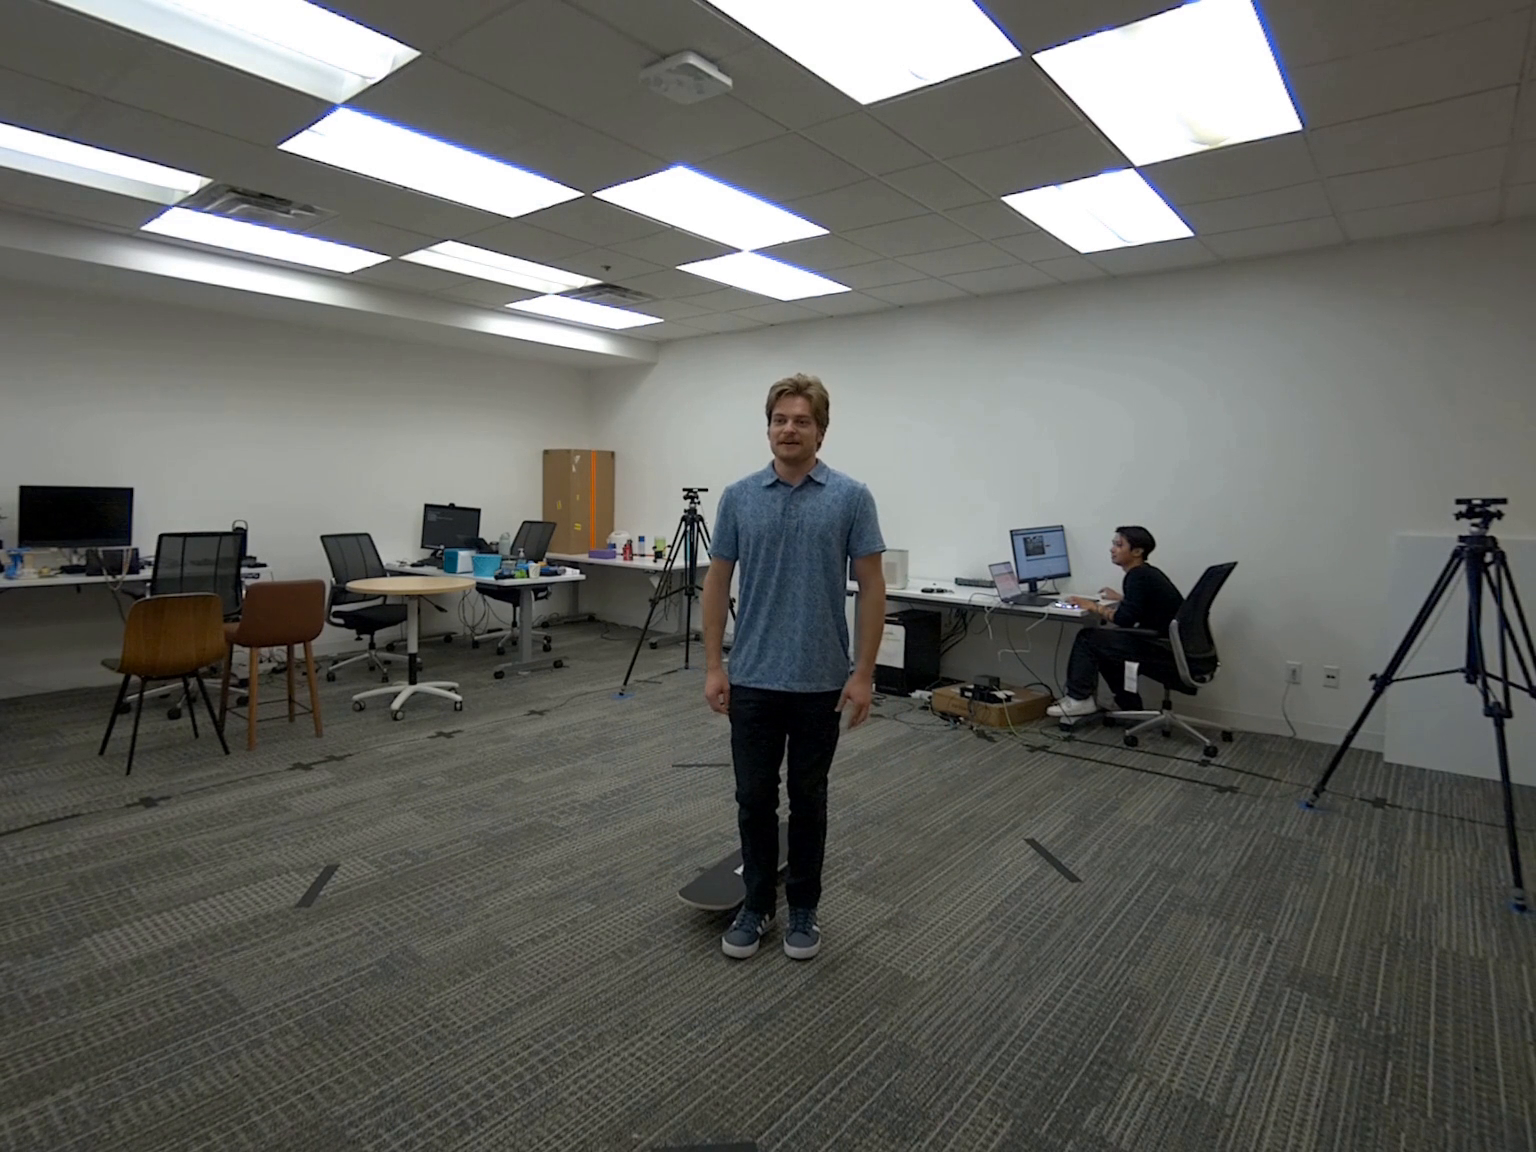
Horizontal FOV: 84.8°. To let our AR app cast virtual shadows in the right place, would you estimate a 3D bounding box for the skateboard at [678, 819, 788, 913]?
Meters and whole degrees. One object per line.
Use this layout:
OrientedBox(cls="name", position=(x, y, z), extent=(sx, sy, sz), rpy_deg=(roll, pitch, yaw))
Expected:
OrientedBox(cls="skateboard", position=(-0.062, 1.027, 2.964), extent=(0.199, 0.110, 0.766), rpy_deg=(4, 6, 29))
